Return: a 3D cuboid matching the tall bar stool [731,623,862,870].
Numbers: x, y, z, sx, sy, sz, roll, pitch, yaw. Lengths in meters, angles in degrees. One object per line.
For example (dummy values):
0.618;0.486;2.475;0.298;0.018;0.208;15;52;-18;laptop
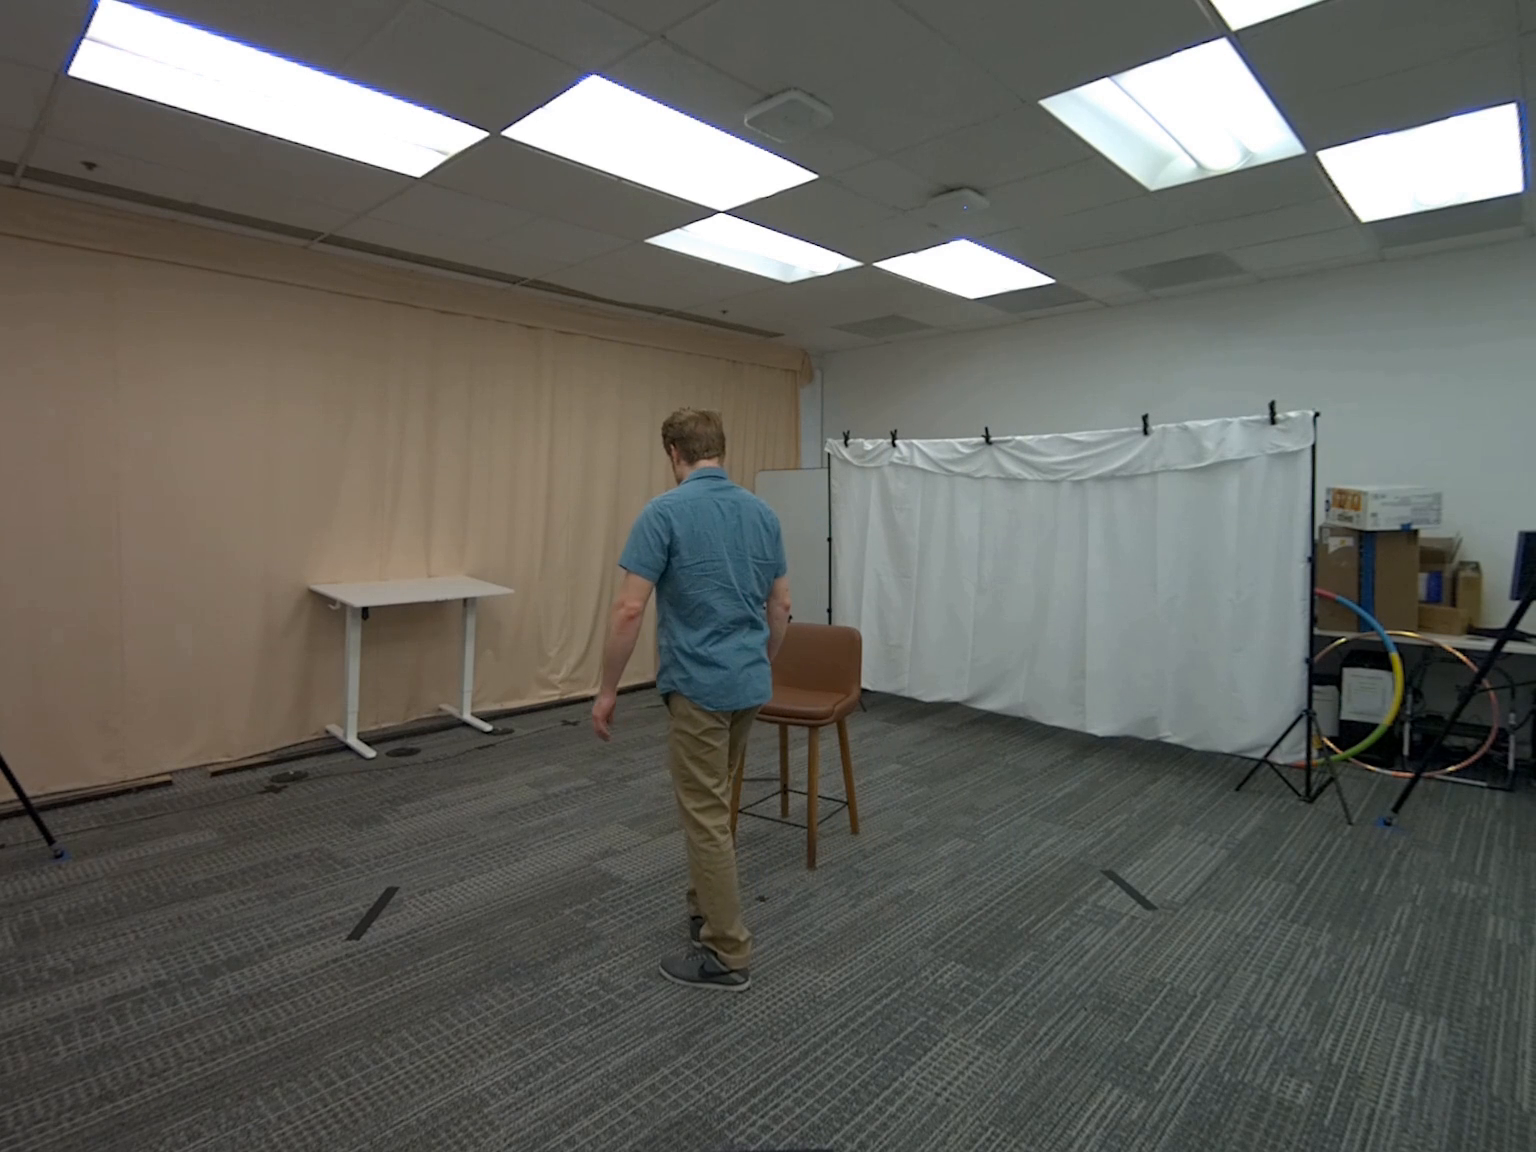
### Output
0.124;0.664;3.483;0.470;0.889;0.454;2;2;33;tall bar stool
